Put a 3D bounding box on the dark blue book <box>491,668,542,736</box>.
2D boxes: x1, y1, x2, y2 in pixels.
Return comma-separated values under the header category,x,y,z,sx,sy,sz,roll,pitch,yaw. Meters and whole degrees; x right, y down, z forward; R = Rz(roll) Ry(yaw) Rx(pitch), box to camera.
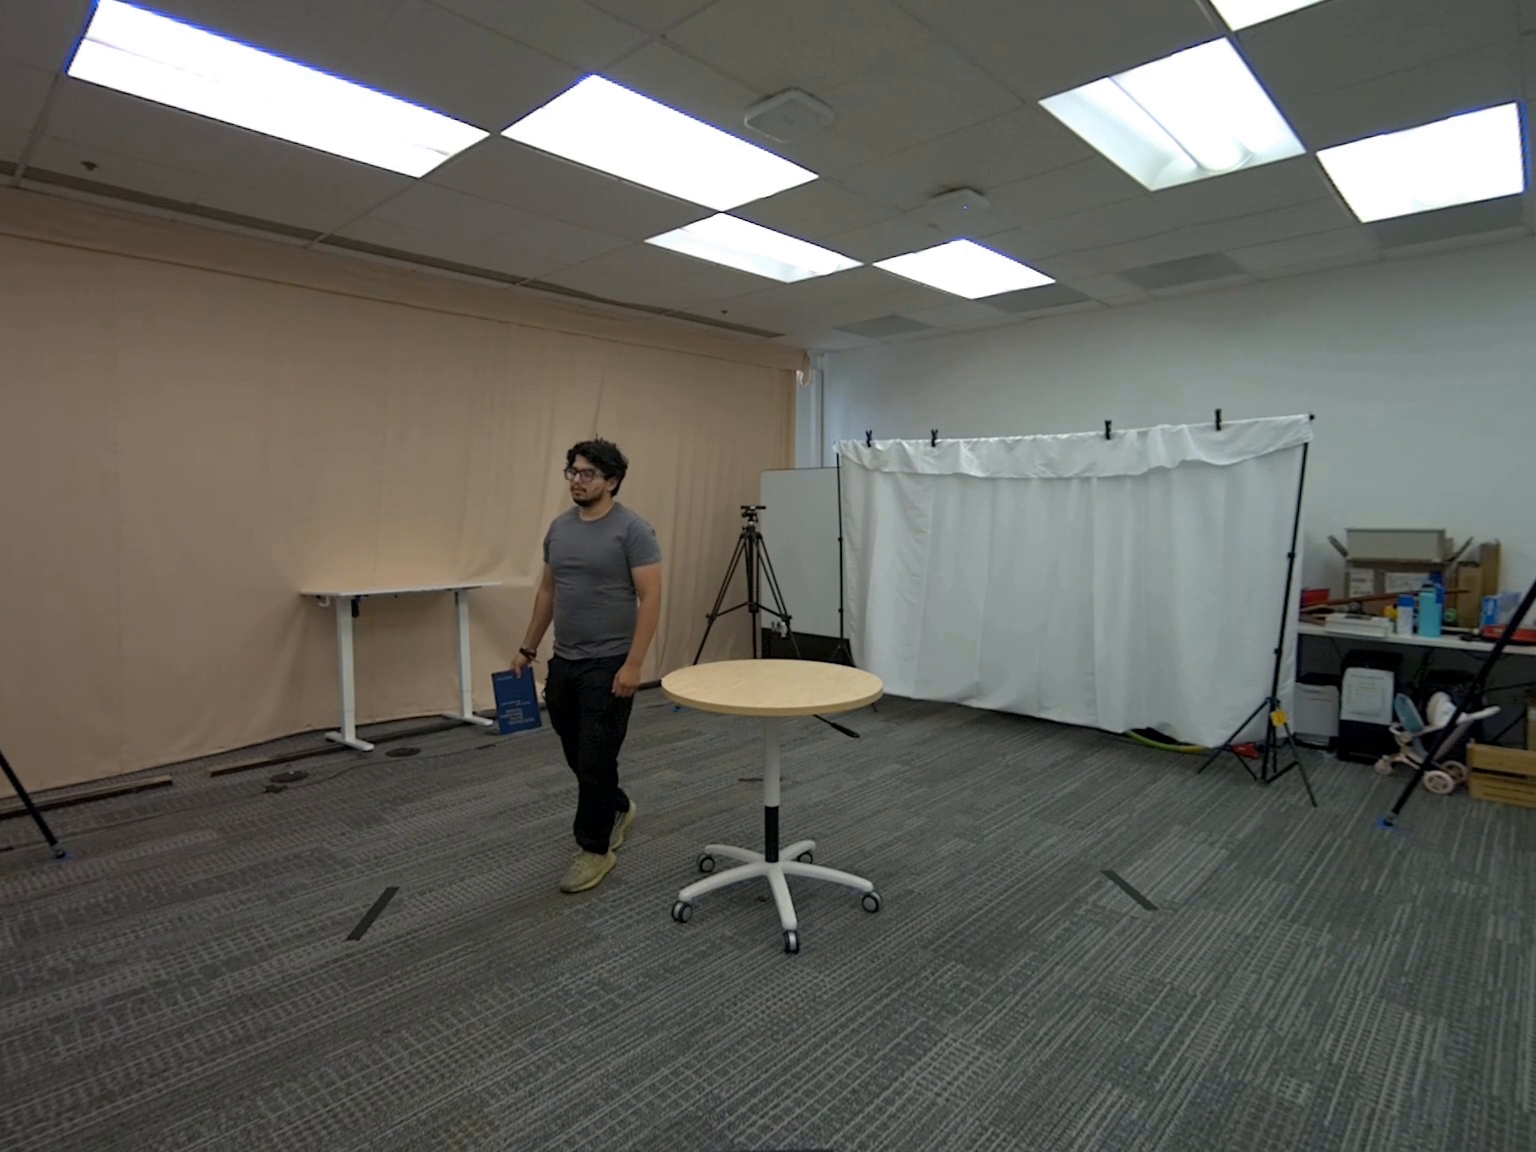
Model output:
category,x,y,z,sx,sy,sz,roll,pitch,yaw
dark blue book,-1.009,0.502,3.350,0.163,0.245,0.045,-9,2,0
